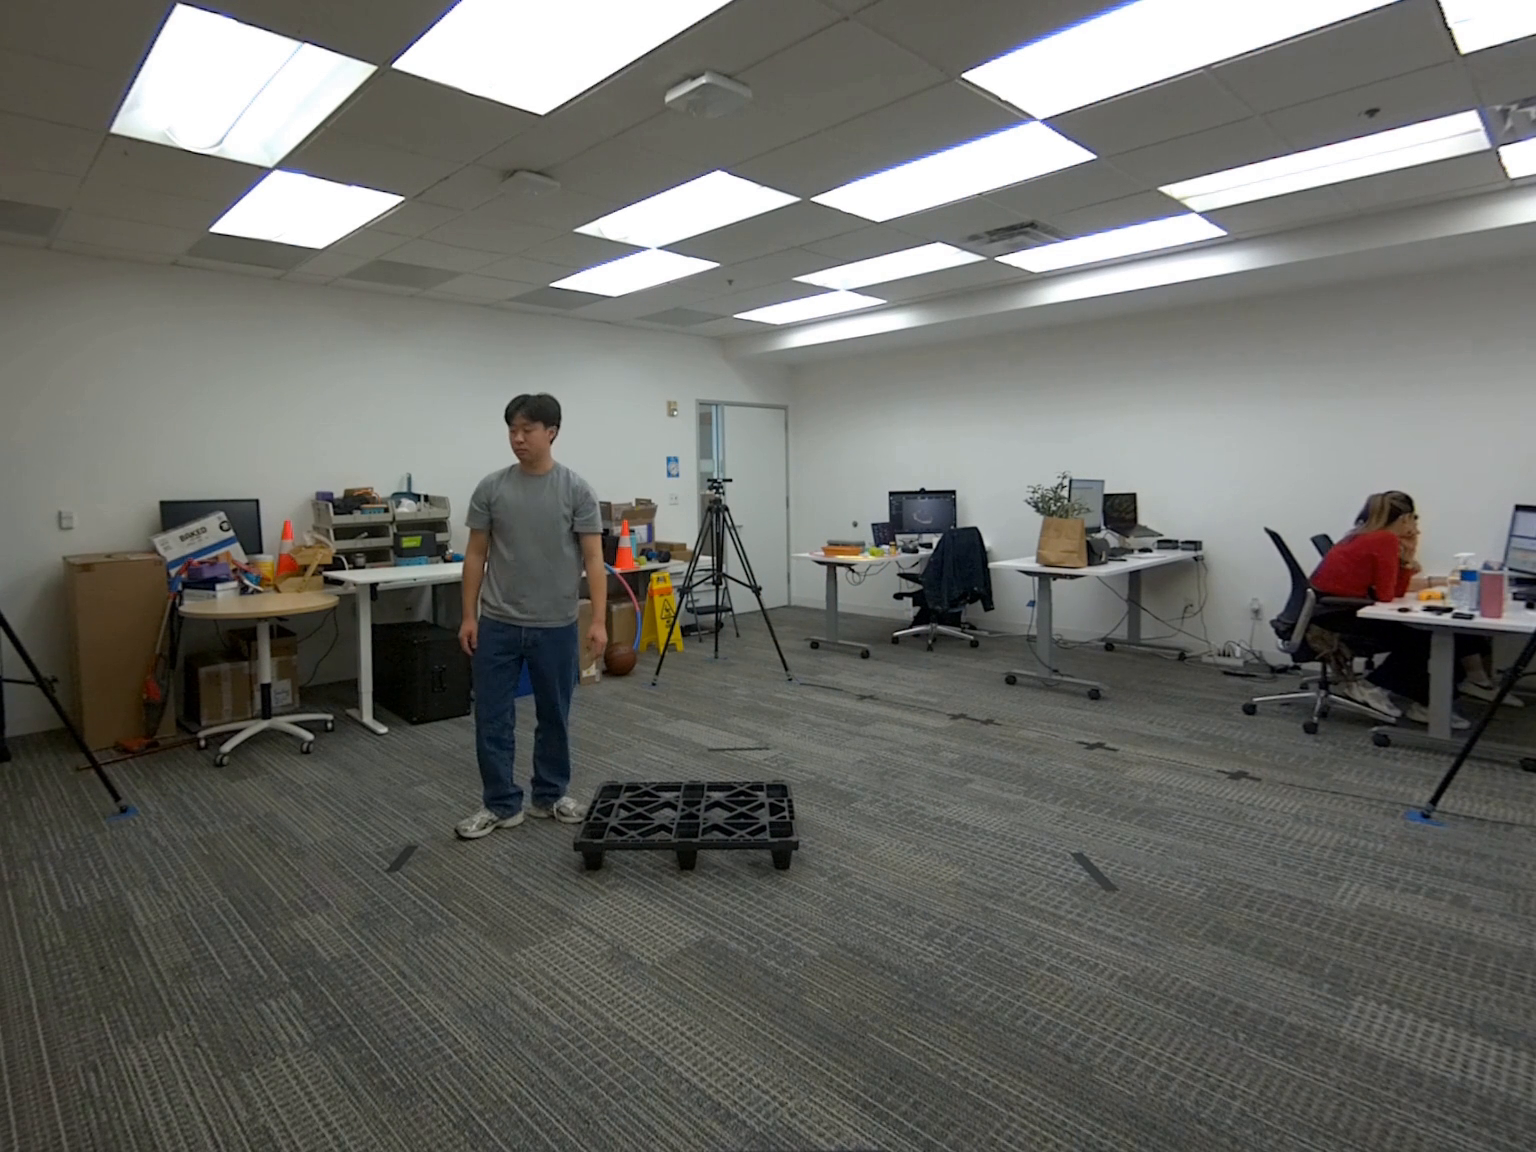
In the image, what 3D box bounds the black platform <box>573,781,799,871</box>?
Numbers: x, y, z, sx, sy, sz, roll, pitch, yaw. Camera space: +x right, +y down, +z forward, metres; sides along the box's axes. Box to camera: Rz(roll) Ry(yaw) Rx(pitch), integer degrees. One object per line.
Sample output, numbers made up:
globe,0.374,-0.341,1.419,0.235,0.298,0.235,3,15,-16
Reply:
black platform,-0.290,0.960,3.283,0.807,0.142,0.608,-1,7,1
